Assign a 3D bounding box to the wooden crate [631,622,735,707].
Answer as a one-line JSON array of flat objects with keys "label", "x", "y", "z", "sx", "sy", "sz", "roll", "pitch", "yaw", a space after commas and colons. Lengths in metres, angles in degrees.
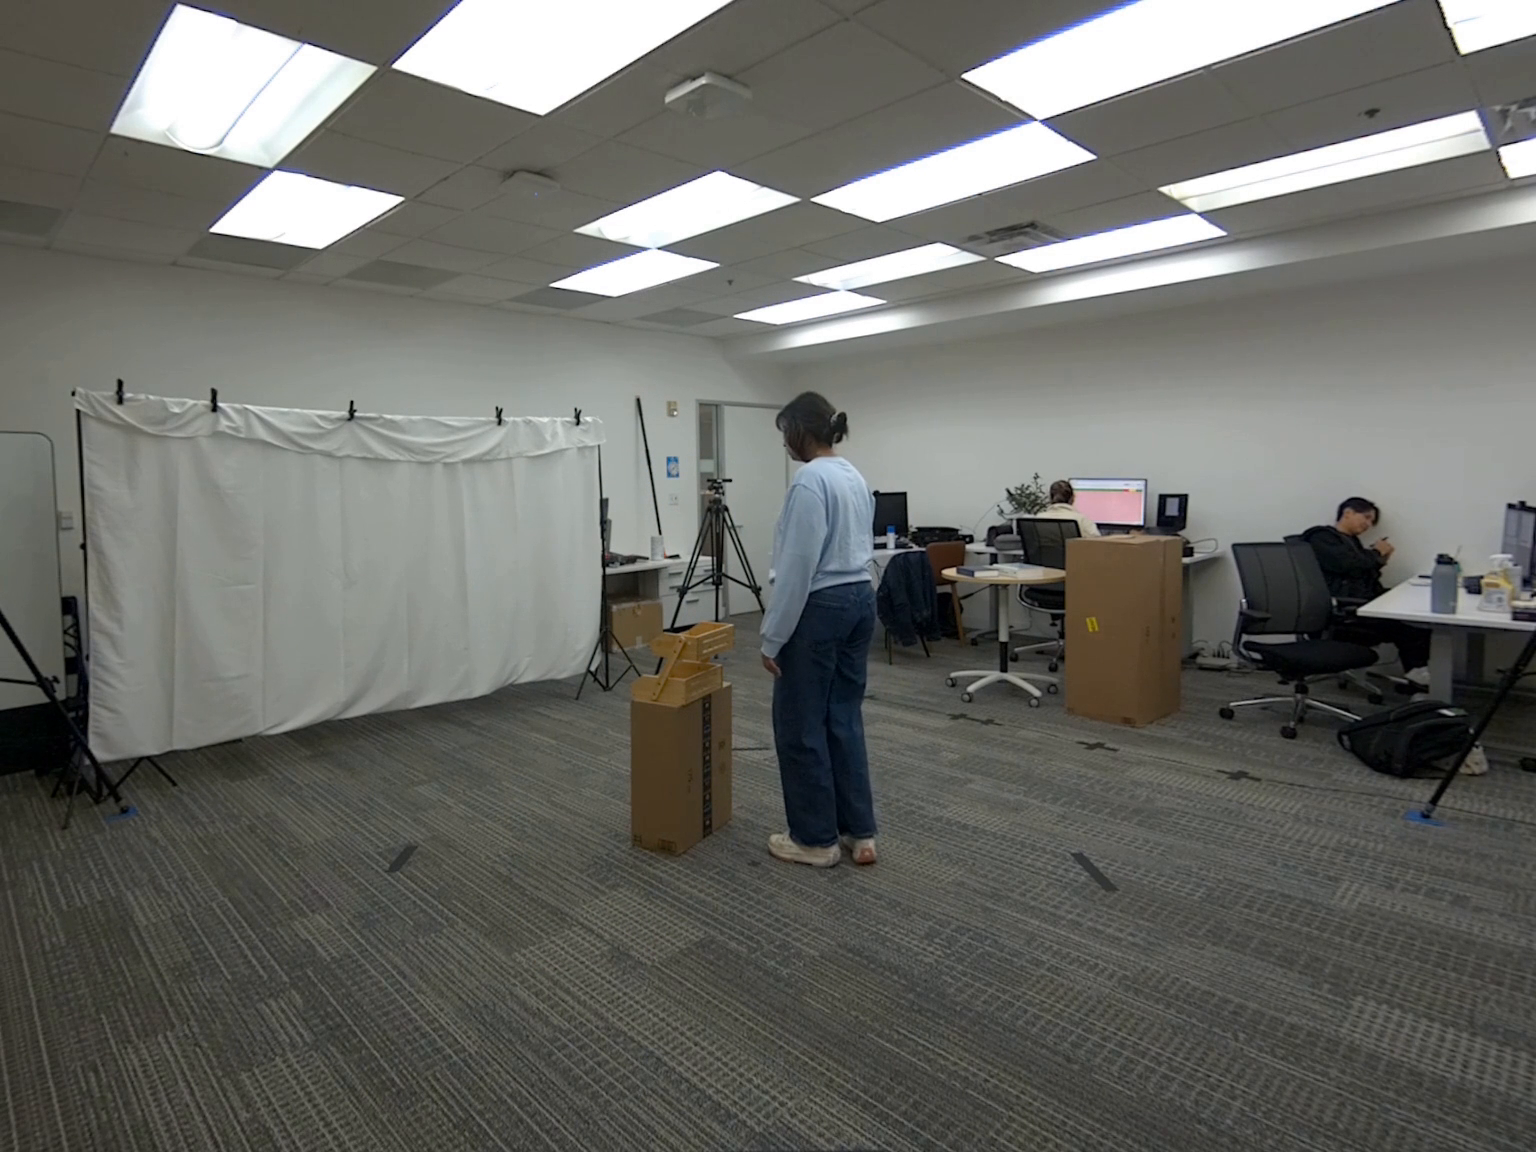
[{"label": "wooden crate", "x": -0.330, "y": 0.323, "z": 3.337, "sx": 0.310, "sy": 0.272, "sz": 0.318, "roll": 4, "pitch": 7, "yaw": 27}]
